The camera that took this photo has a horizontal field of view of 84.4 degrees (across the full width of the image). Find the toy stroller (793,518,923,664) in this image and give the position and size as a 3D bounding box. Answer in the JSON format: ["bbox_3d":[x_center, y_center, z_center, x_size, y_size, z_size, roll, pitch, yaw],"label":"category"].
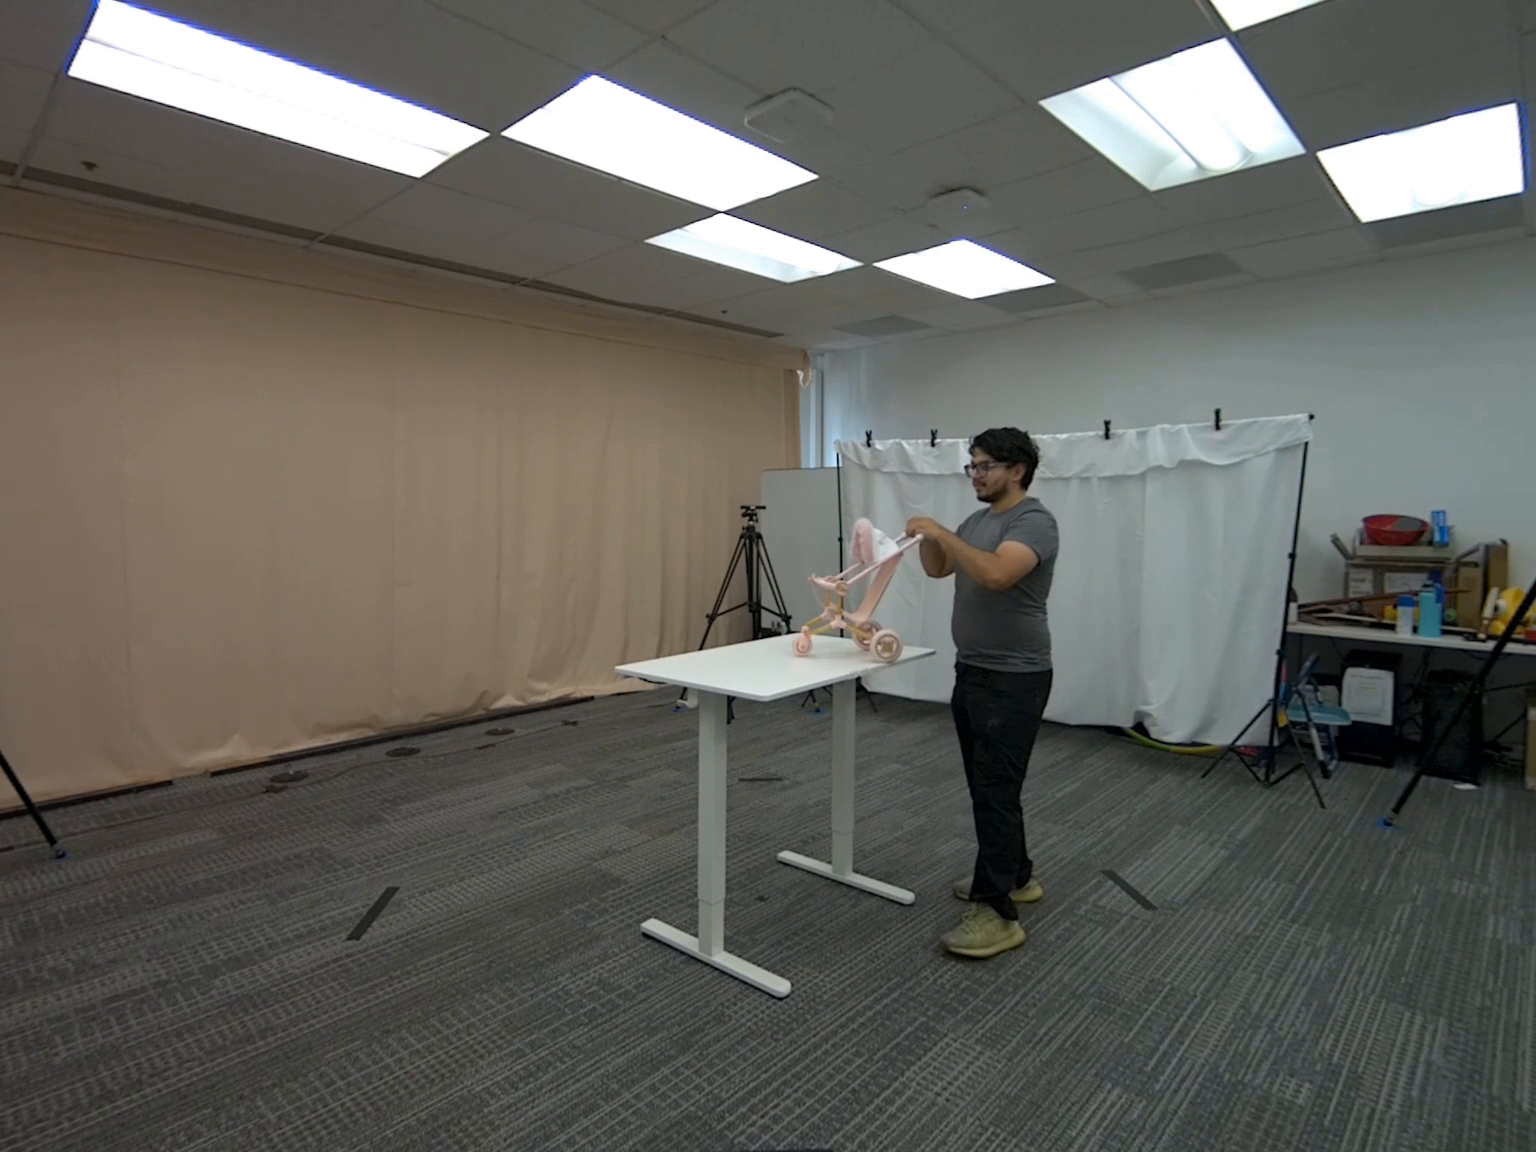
[{"bbox_3d":[0.302,0.049,2.844,0.341,0.534,0.282,14,3,-2],"label":"toy stroller"}]
